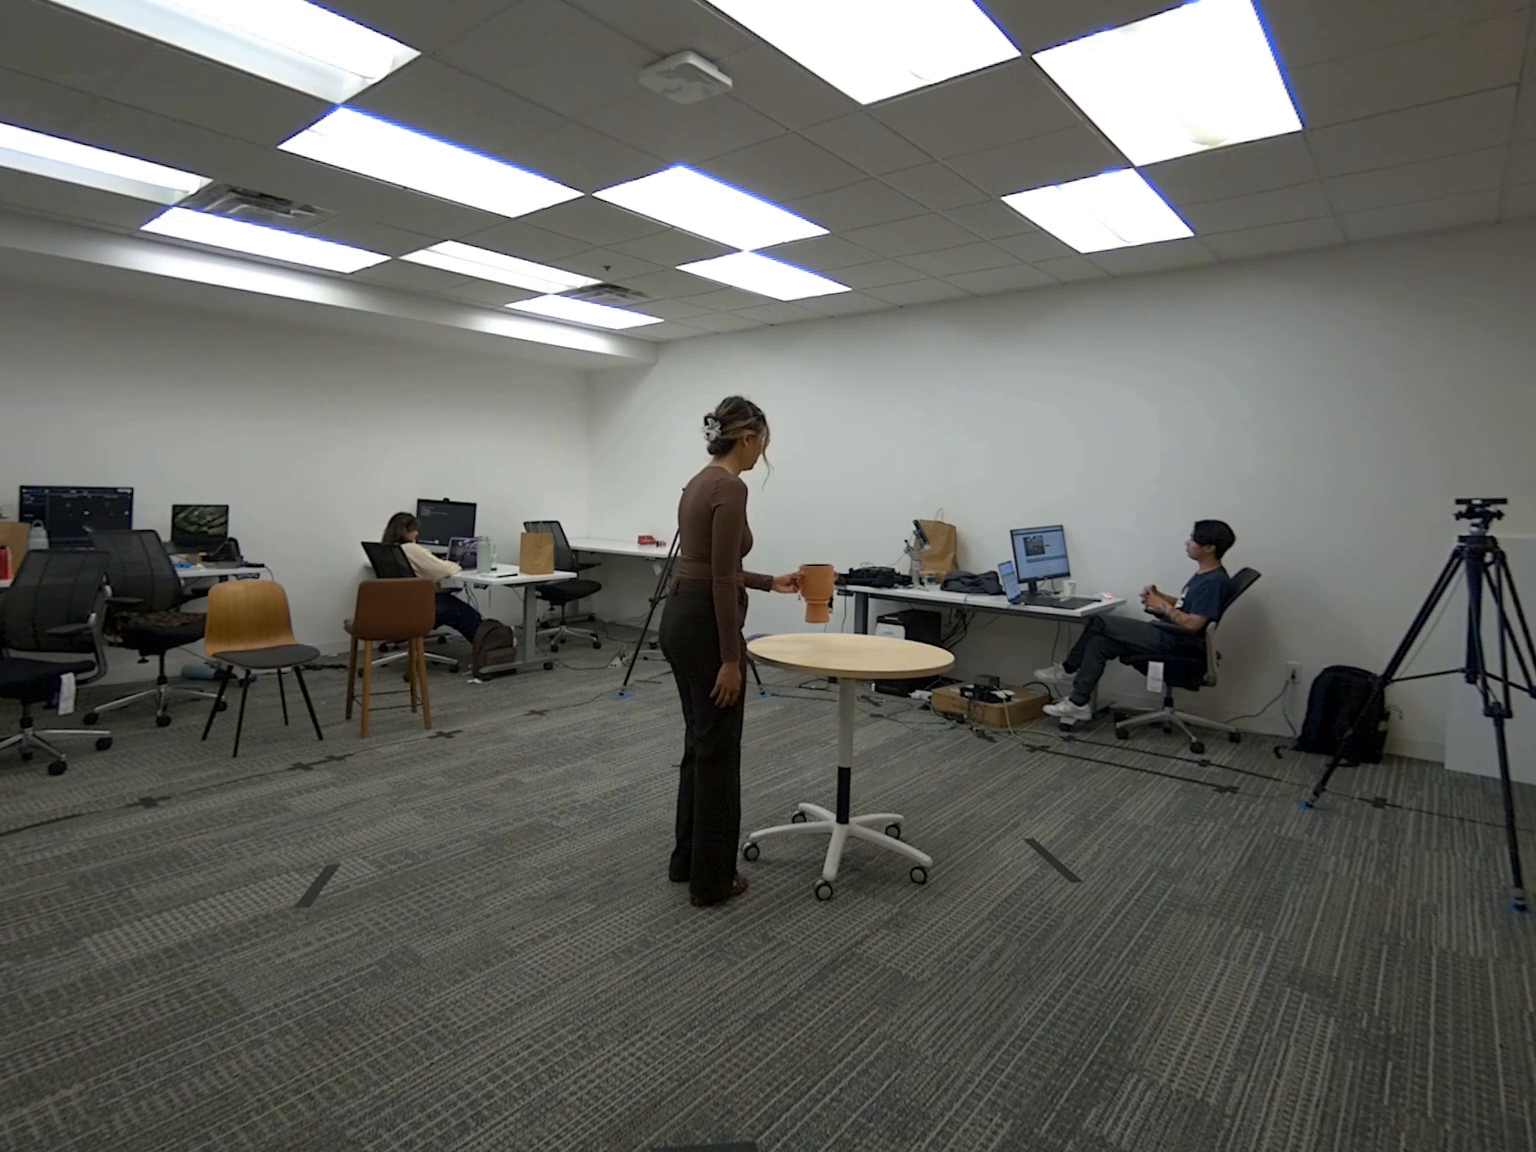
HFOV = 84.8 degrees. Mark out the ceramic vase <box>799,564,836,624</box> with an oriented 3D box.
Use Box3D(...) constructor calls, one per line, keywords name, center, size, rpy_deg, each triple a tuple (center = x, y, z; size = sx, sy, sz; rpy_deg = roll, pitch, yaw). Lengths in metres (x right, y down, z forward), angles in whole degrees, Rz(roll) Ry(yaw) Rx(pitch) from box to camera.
Box3D(name="ceramic vase", center=(0.177, 0.062, 3.298), size=(0.161, 0.219, 0.133), rpy_deg=(1, 4, 11))
